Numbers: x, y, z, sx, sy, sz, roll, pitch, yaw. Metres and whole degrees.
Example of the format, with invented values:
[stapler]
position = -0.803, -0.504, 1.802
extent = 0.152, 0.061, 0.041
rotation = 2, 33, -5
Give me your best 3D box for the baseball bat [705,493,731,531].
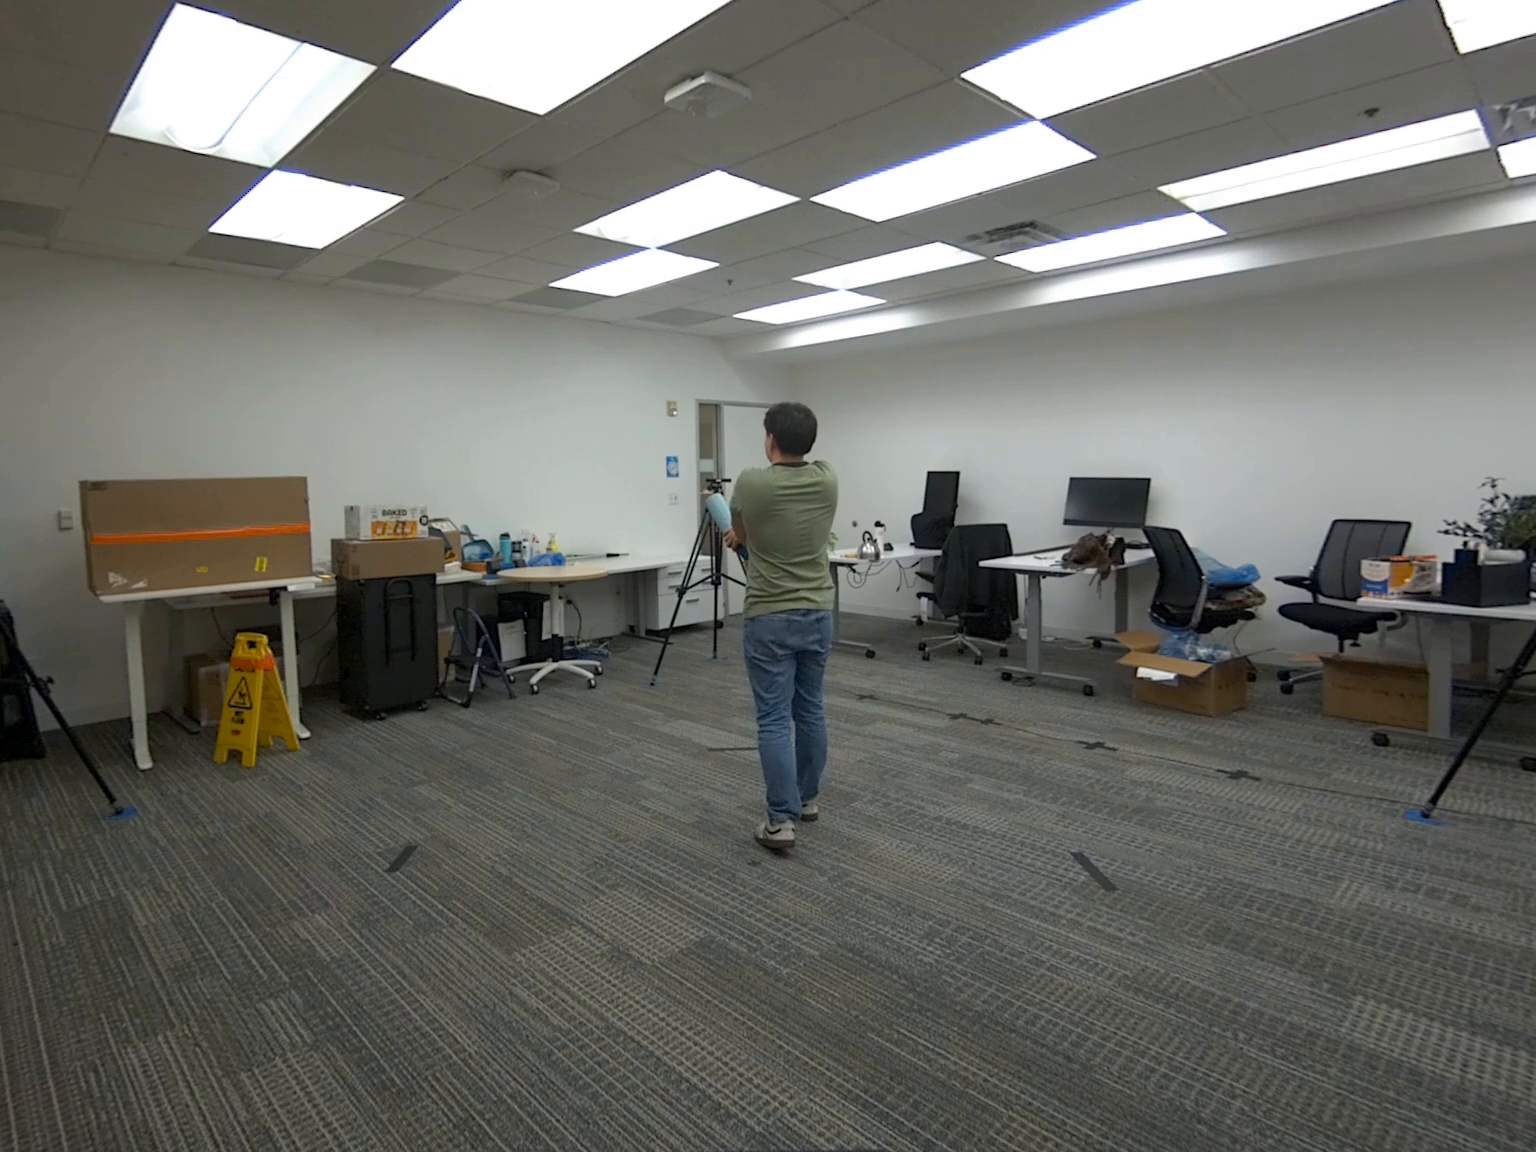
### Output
[baseball bat]
position = -0.114, -0.128, 3.750
extent = 0.088, 0.556, 0.087
rotation = -25, -20, -11
